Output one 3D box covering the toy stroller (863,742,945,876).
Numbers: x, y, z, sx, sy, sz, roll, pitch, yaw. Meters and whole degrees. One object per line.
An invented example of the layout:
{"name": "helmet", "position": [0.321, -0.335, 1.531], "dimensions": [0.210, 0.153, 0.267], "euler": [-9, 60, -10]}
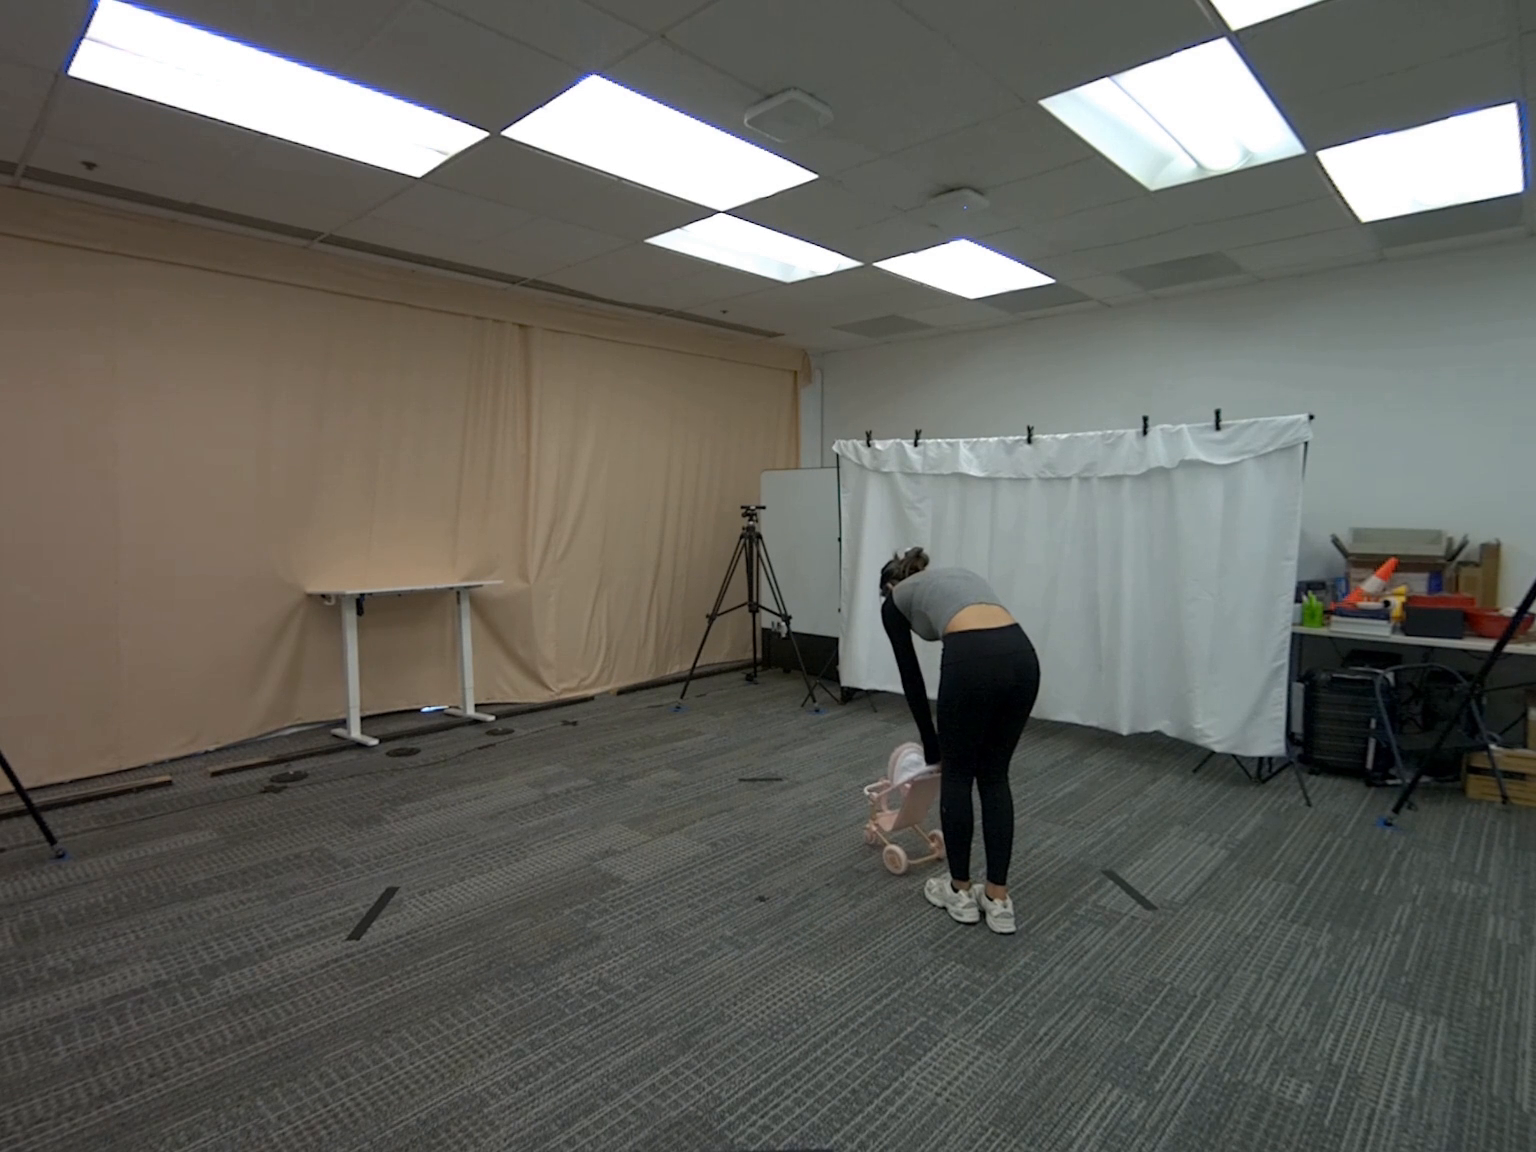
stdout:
{"name": "toy stroller", "position": [0.537, 0.887, 3.301], "dimensions": [0.273, 0.531, 0.353], "euler": [-2, 18, -34]}
